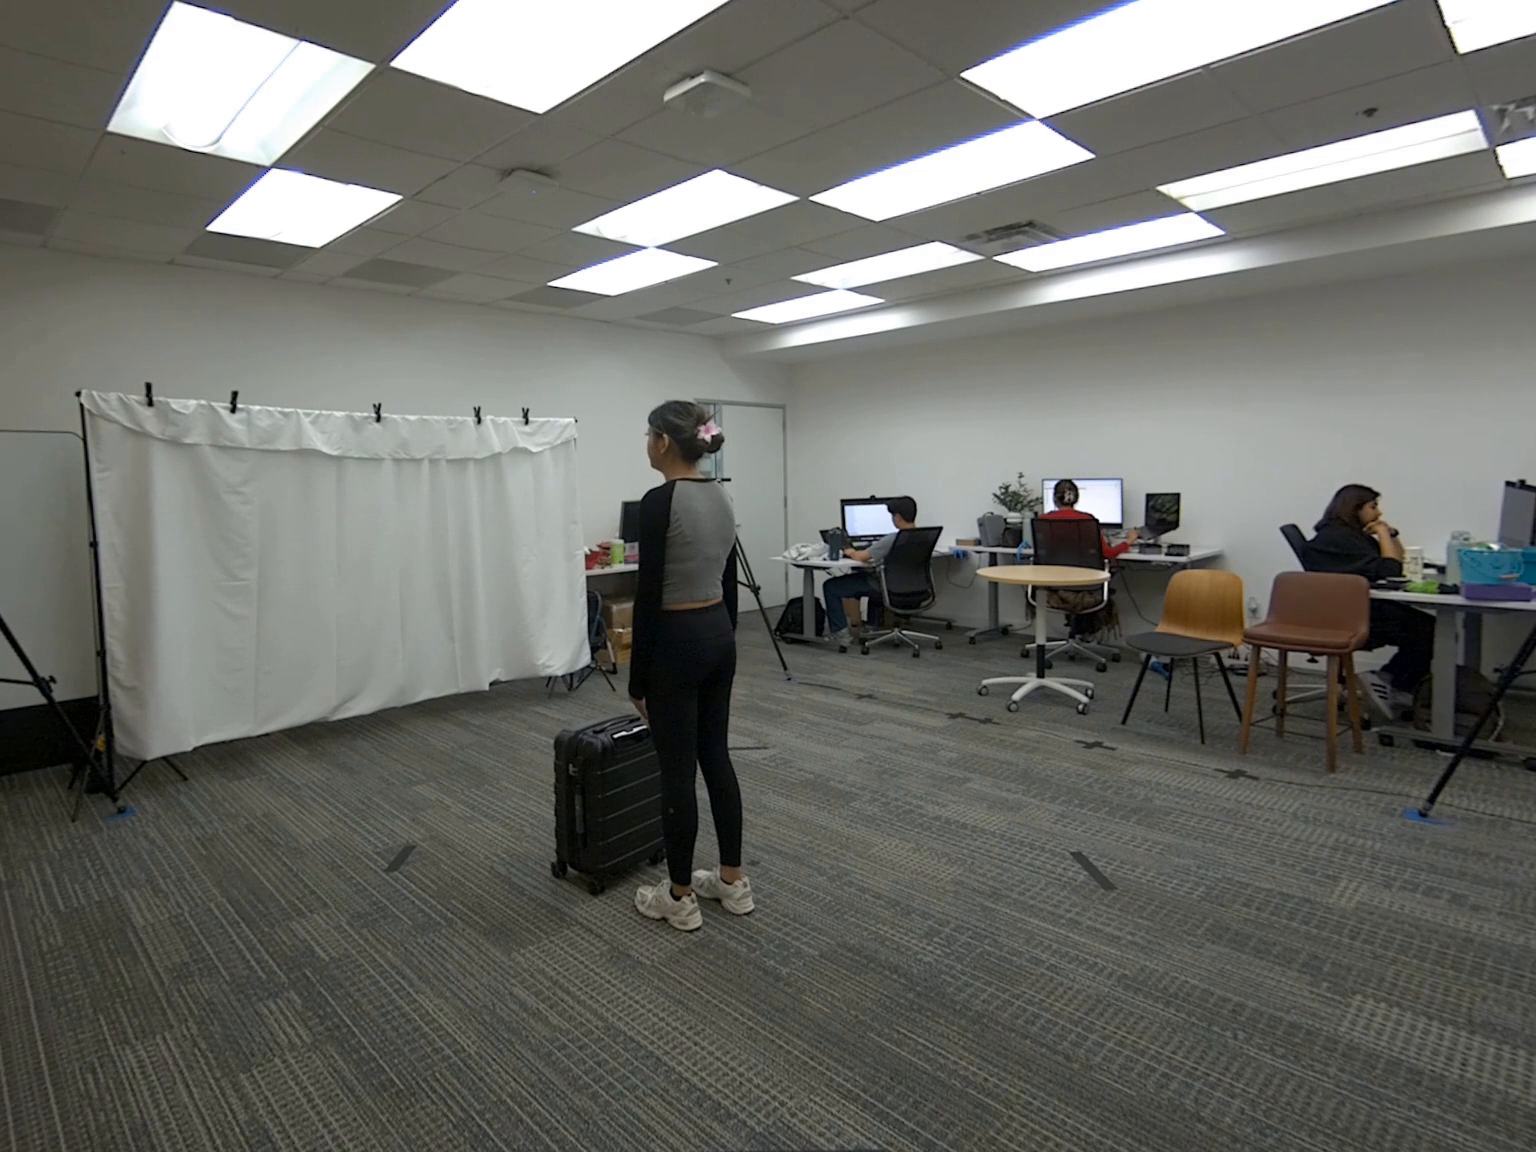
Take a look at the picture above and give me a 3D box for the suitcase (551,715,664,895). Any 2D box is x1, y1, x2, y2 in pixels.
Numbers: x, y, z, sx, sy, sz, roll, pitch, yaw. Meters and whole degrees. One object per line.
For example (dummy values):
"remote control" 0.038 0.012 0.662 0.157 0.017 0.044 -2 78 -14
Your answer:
"suitcase" -0.565 0.781 3.048 0.256 0.547 0.366 4 7 39
